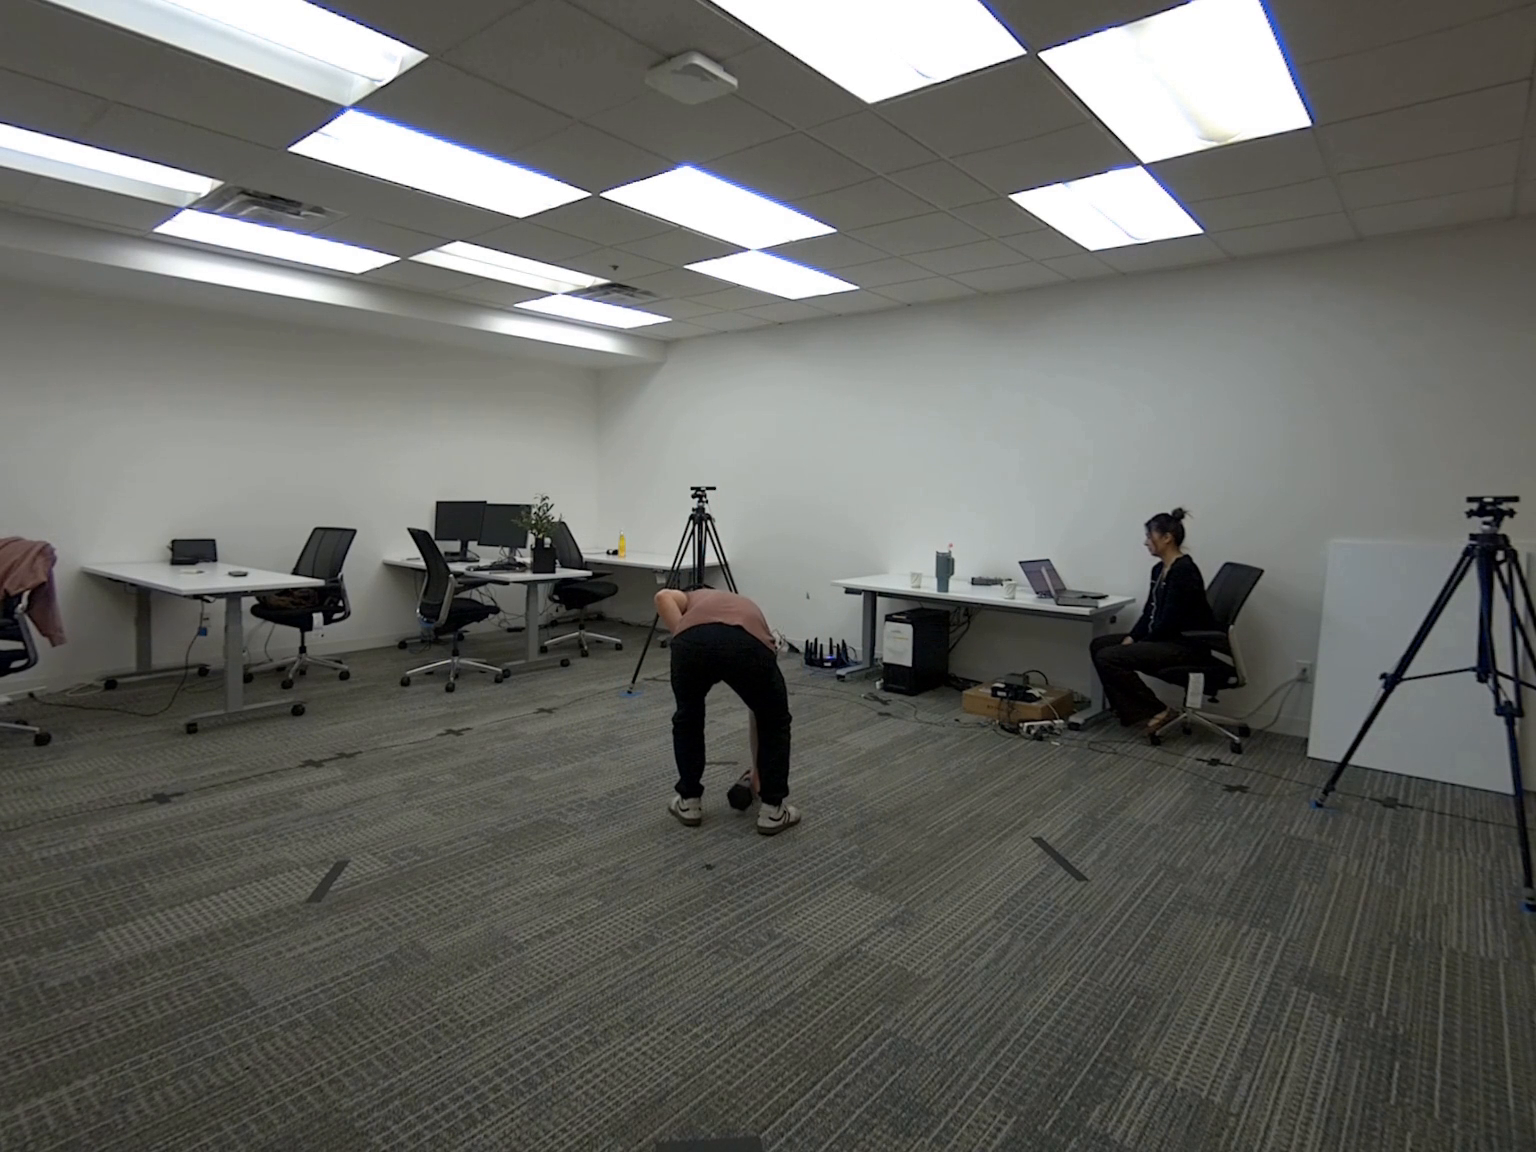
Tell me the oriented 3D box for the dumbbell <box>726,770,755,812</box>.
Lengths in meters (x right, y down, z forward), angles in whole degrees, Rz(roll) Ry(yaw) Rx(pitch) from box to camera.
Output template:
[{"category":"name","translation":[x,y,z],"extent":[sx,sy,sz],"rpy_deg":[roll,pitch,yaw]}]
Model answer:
[{"category":"dumbbell","translation":[-0.105,0.911,3.731],"extent":[0.110,0.123,0.290],"rpy_deg":[42,11,6]}]
